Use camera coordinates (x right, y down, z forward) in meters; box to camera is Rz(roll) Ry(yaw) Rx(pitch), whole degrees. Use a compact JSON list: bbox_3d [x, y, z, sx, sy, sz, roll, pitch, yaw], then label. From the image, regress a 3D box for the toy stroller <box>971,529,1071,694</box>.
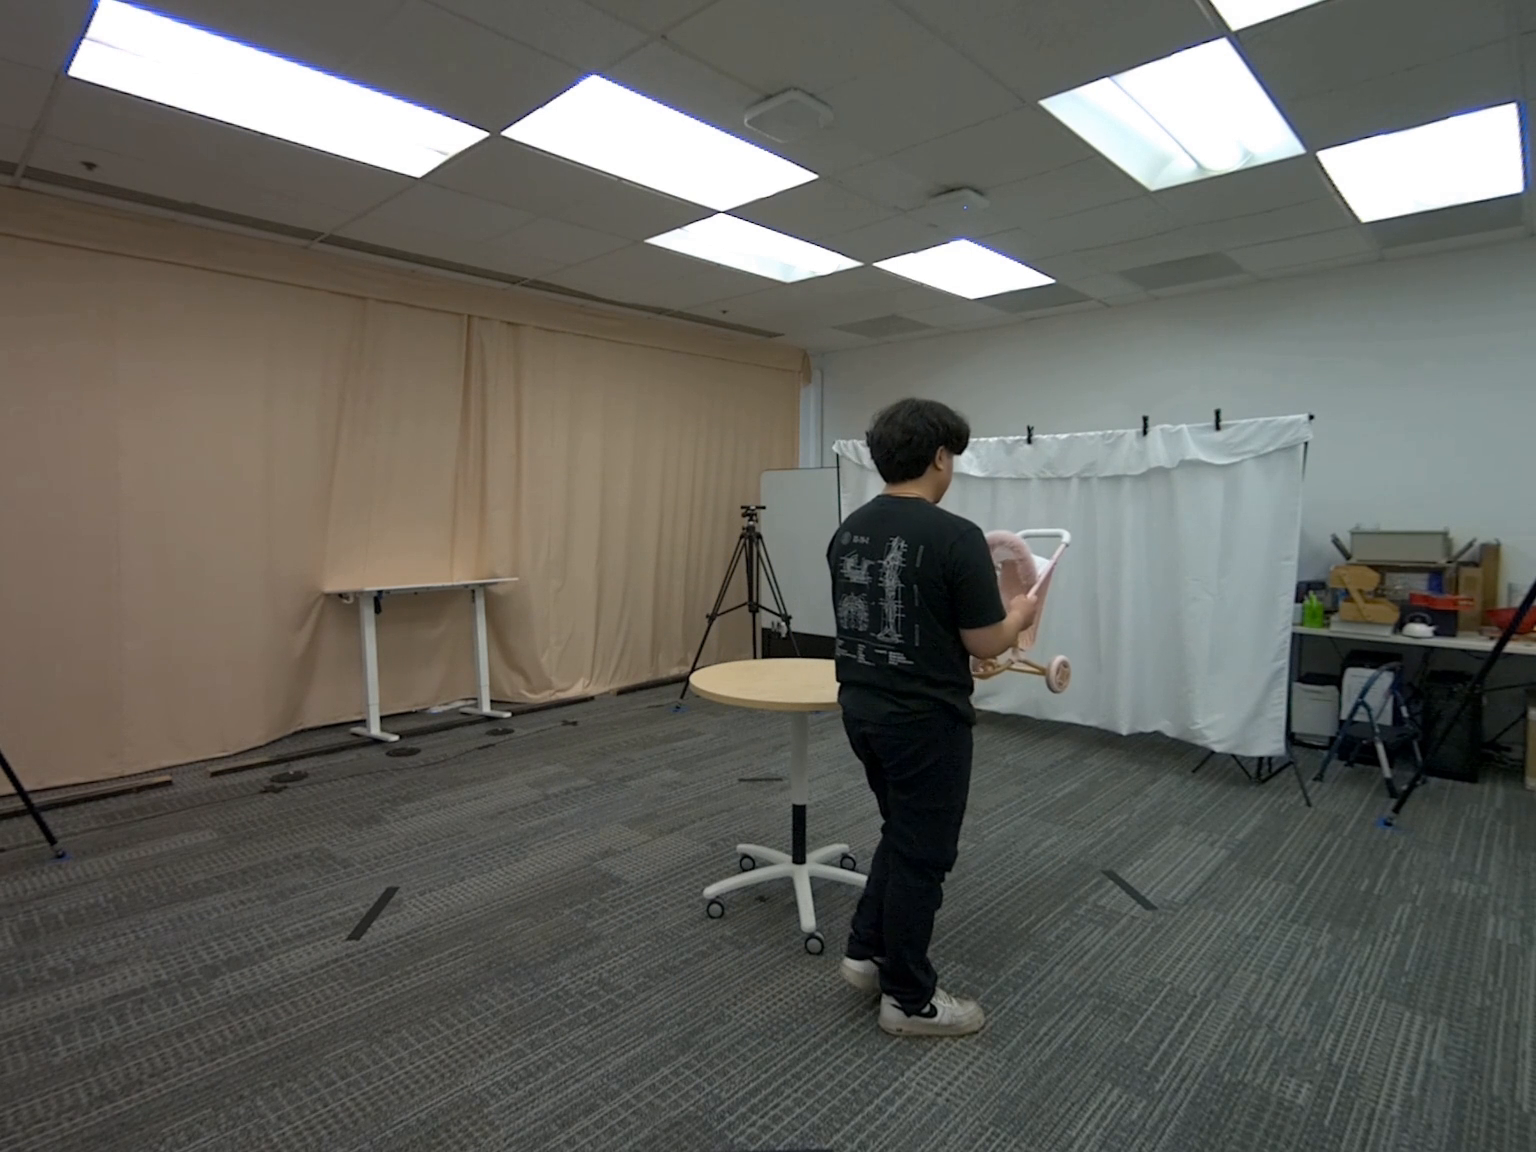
[{"bbox_3d":[0.682,0.112,2.443,0.331,0.535,0.290,8,-1,-33],"label":"toy stroller"}]
